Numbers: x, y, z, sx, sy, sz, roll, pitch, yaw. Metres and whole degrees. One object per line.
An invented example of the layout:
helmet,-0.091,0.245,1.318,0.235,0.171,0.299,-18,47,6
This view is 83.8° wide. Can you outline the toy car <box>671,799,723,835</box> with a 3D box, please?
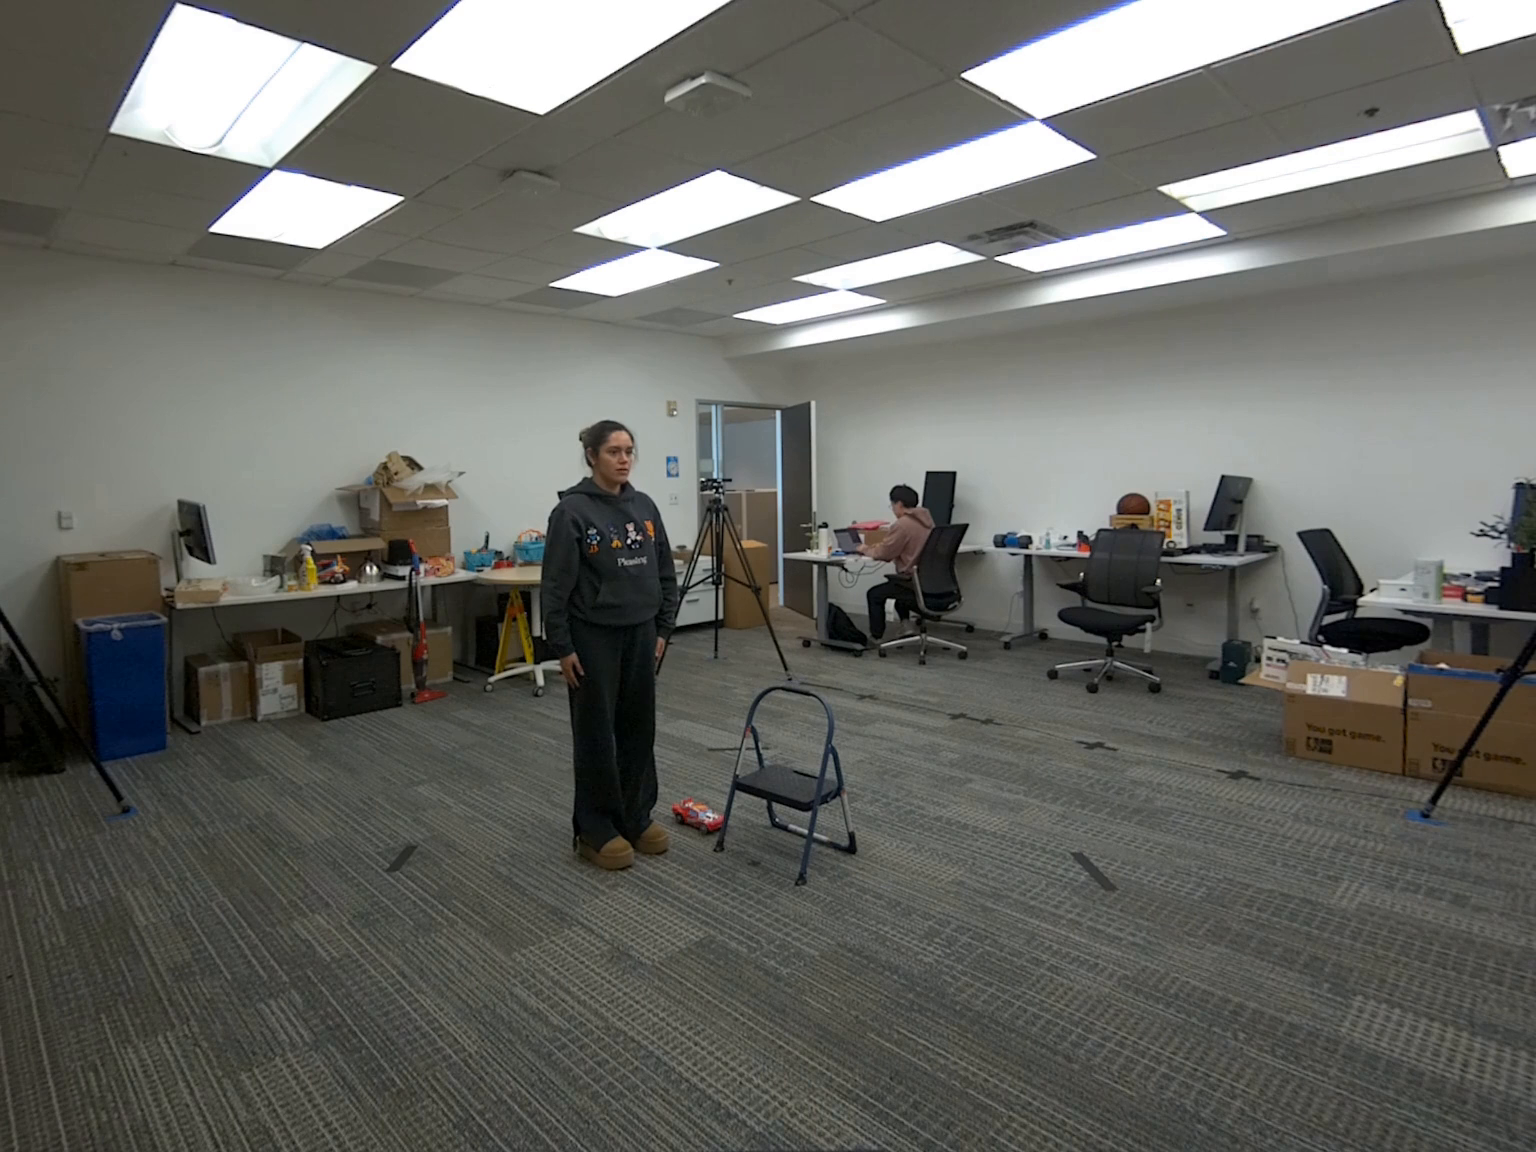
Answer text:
toy car,-0.282,0.980,3.460,0.127,0.082,0.264,-6,19,-43
